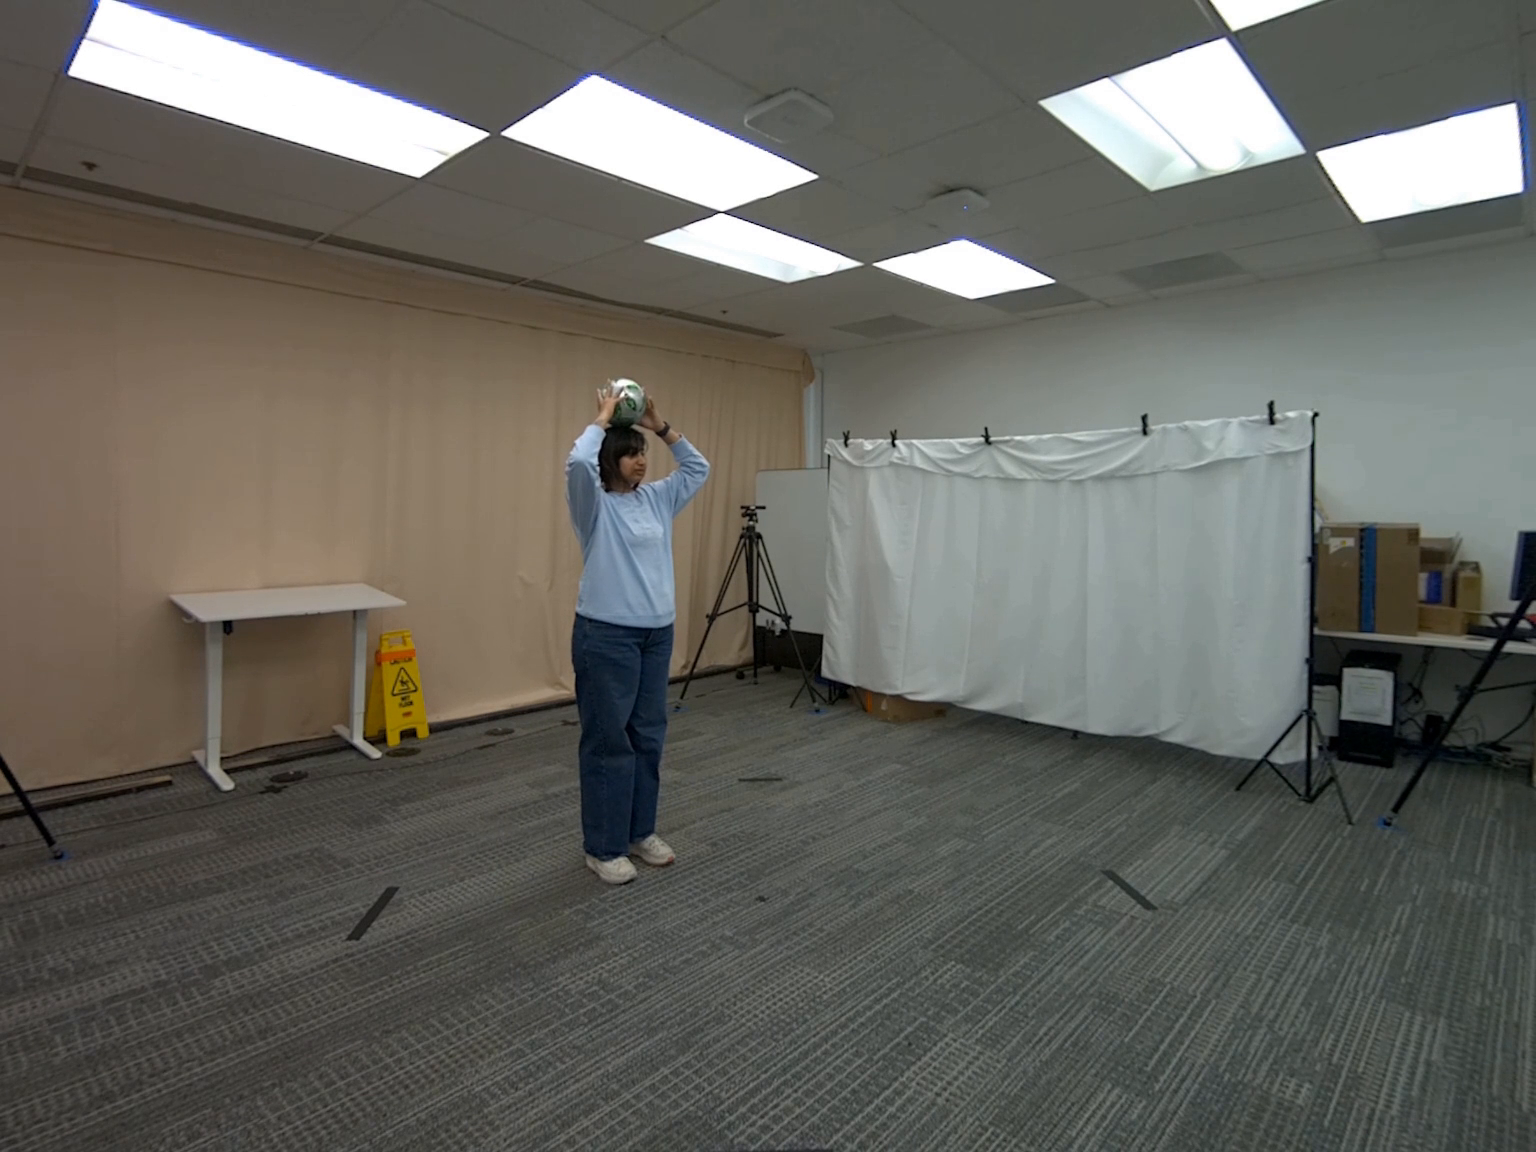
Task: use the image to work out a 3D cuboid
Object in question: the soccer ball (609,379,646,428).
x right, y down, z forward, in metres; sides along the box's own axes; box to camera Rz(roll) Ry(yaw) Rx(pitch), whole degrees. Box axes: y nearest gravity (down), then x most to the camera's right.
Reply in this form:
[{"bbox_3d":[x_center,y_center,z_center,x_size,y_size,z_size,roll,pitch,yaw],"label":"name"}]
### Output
[{"bbox_3d":[-0.556,-0.660,3.209,0.187,0.187,0.188,0,4,-2],"label":"soccer ball"}]
